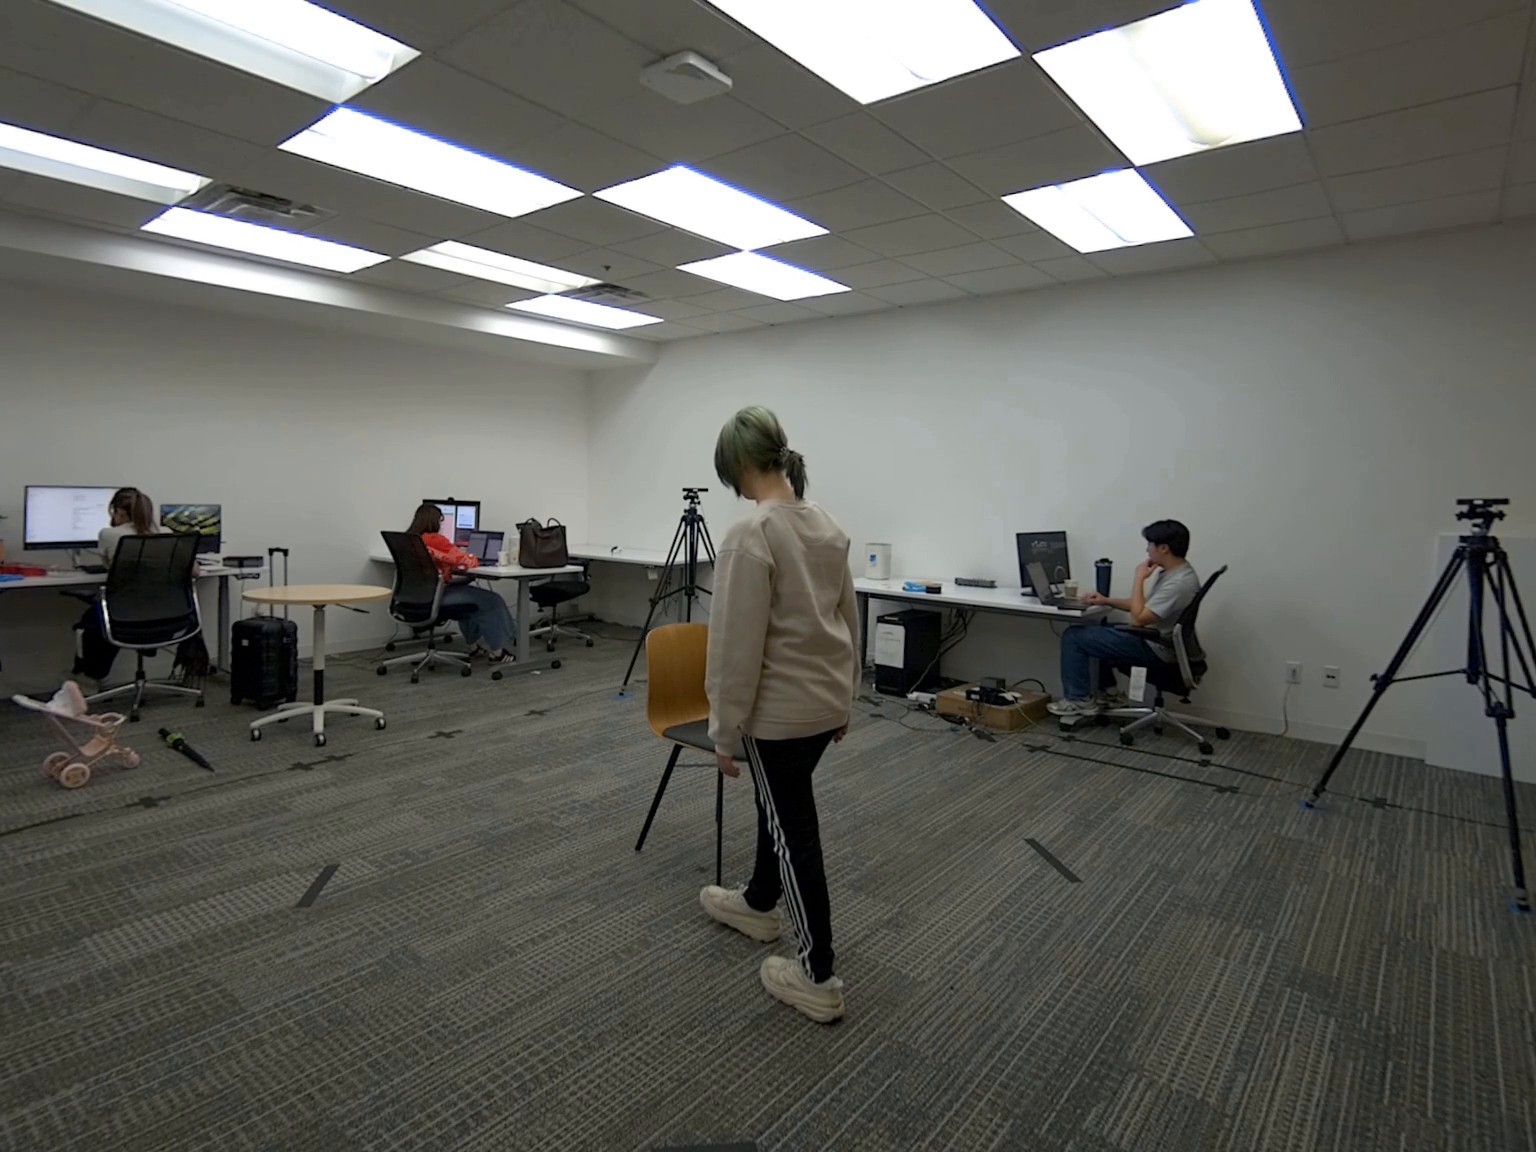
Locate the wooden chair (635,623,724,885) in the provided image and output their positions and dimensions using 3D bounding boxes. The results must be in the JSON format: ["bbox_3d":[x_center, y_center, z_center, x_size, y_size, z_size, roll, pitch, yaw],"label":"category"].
[{"bbox_3d":[-0.185,0.628,3.220,0.539,0.878,0.463,-2,0,44],"label":"wooden chair"}]
